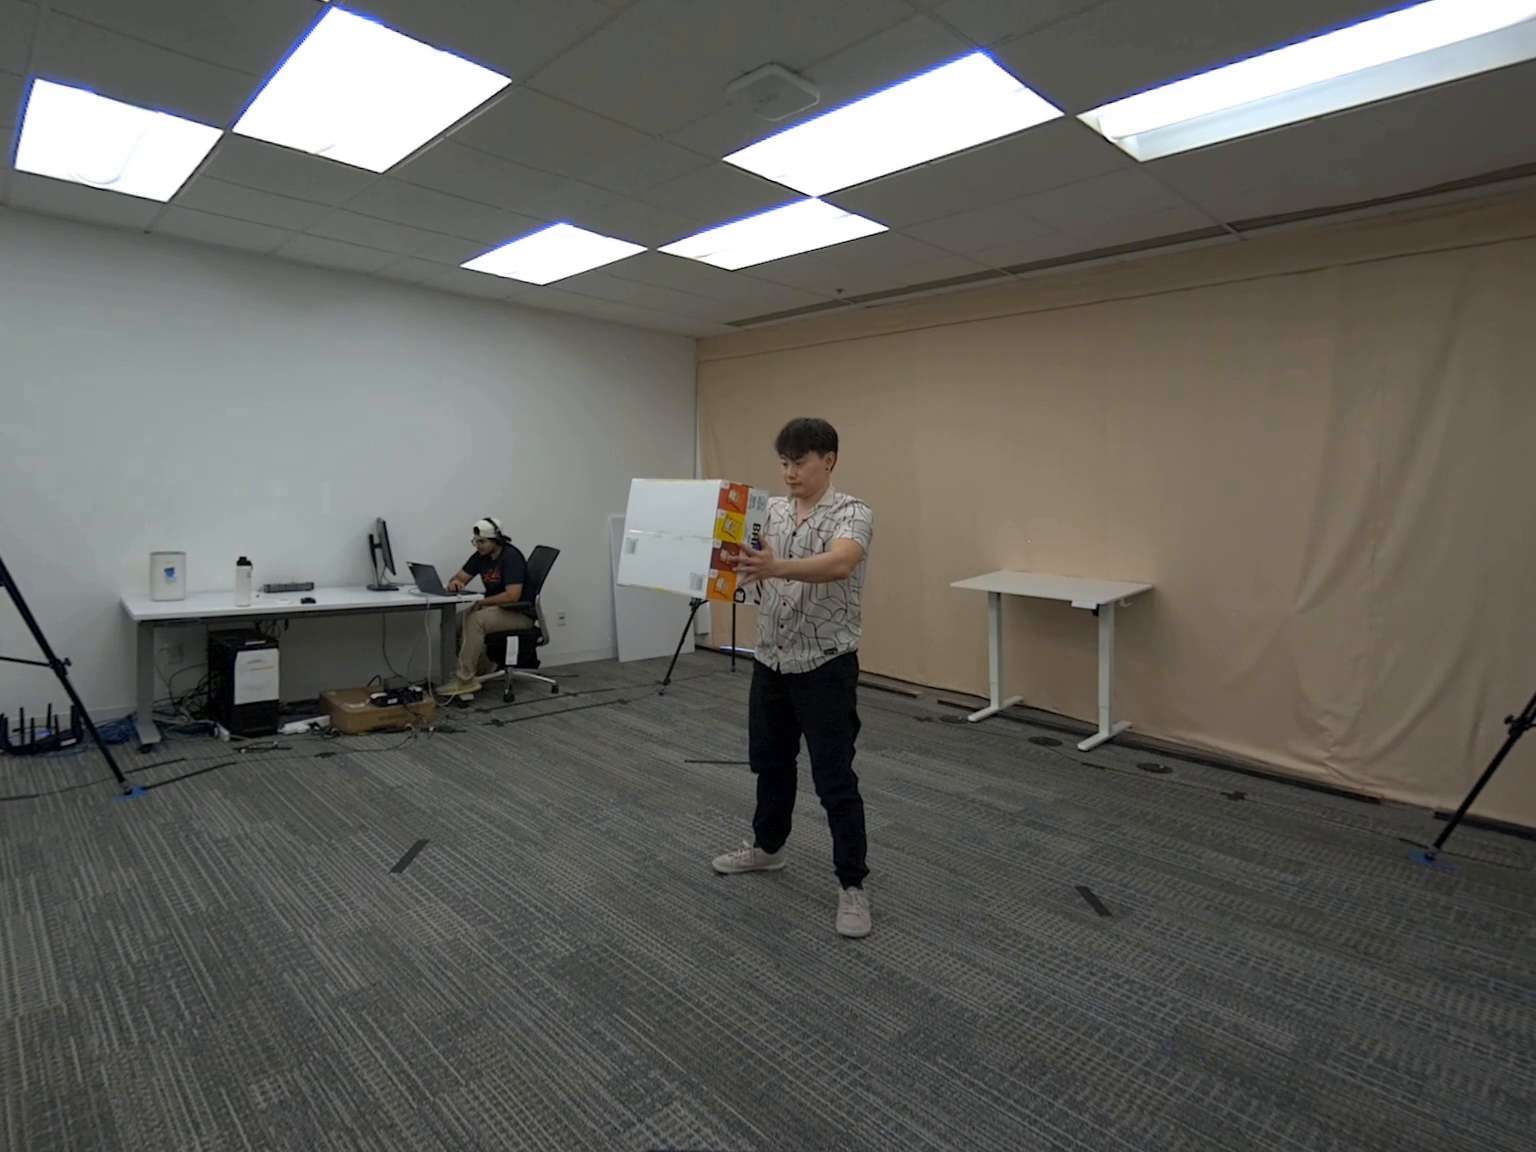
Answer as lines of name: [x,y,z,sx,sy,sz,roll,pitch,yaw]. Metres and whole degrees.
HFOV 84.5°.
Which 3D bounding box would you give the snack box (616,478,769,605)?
snack box: [-0.237,-0.105,2.531,0.415,0.341,0.200,5,-4,42]
